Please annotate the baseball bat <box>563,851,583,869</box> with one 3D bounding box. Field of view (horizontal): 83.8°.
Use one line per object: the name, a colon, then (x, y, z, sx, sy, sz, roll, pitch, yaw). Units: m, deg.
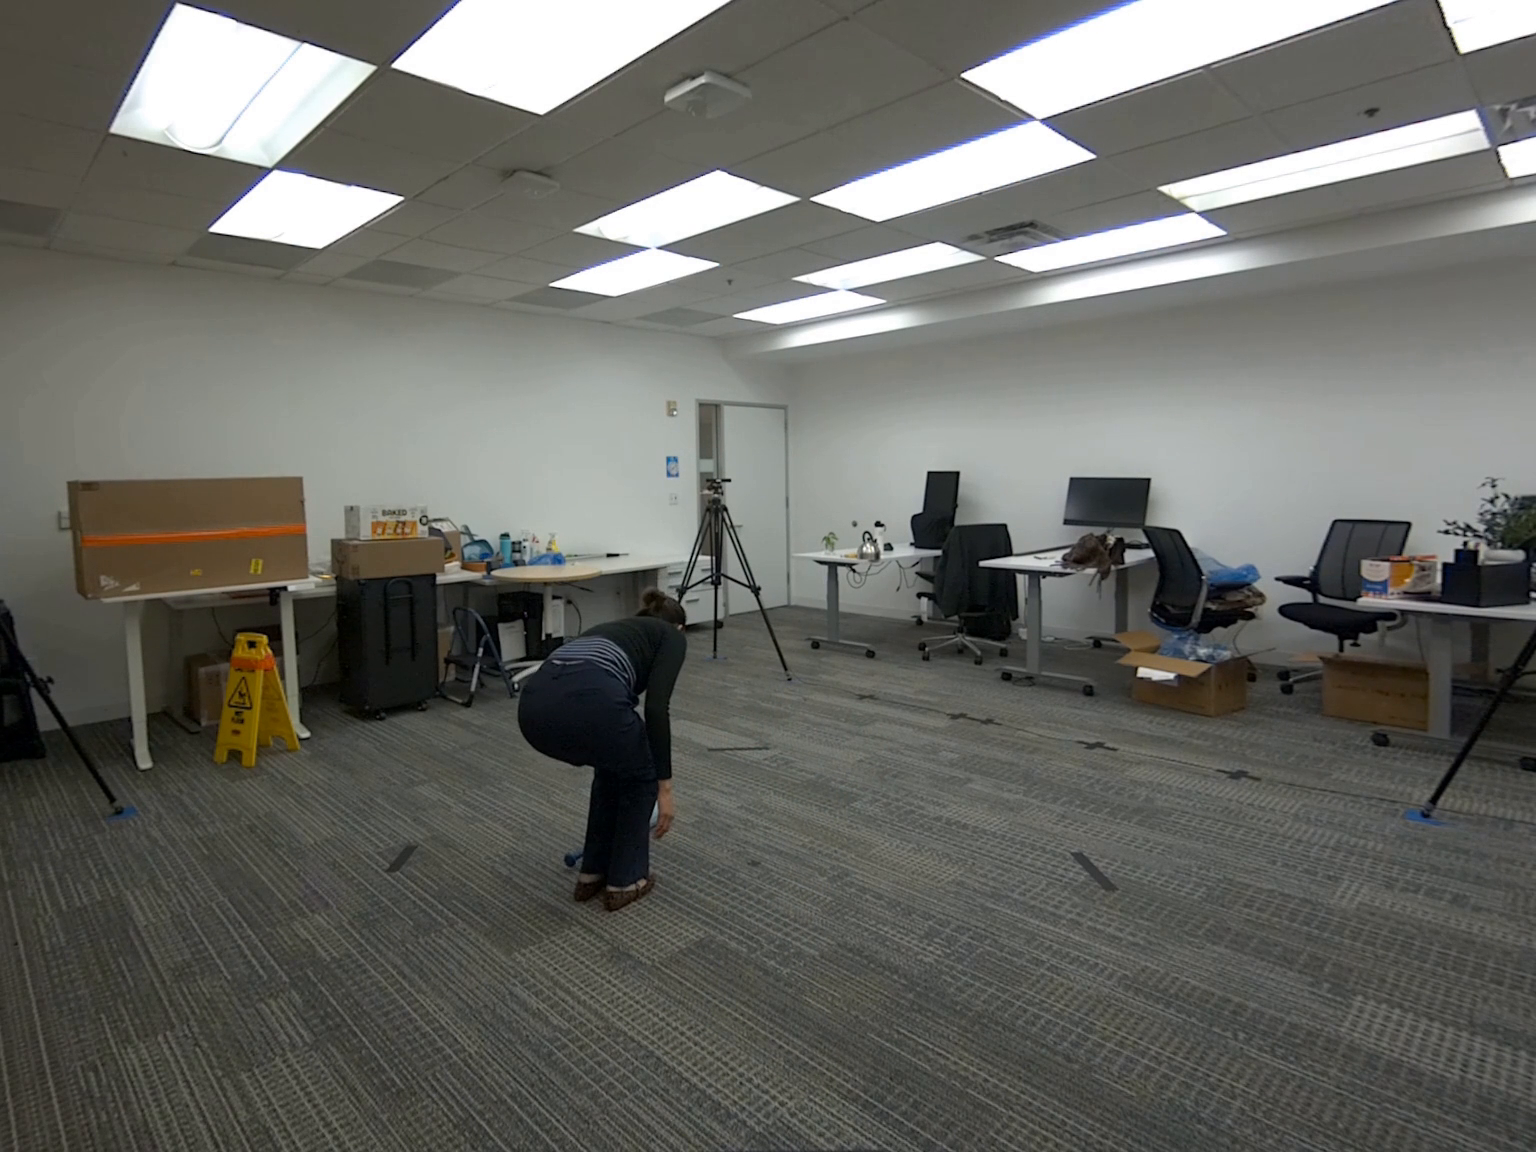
baseball bat: (-0.575, 0.982, 3.295, 0.091, 0.088, 0.531, 2, 7, 31)
